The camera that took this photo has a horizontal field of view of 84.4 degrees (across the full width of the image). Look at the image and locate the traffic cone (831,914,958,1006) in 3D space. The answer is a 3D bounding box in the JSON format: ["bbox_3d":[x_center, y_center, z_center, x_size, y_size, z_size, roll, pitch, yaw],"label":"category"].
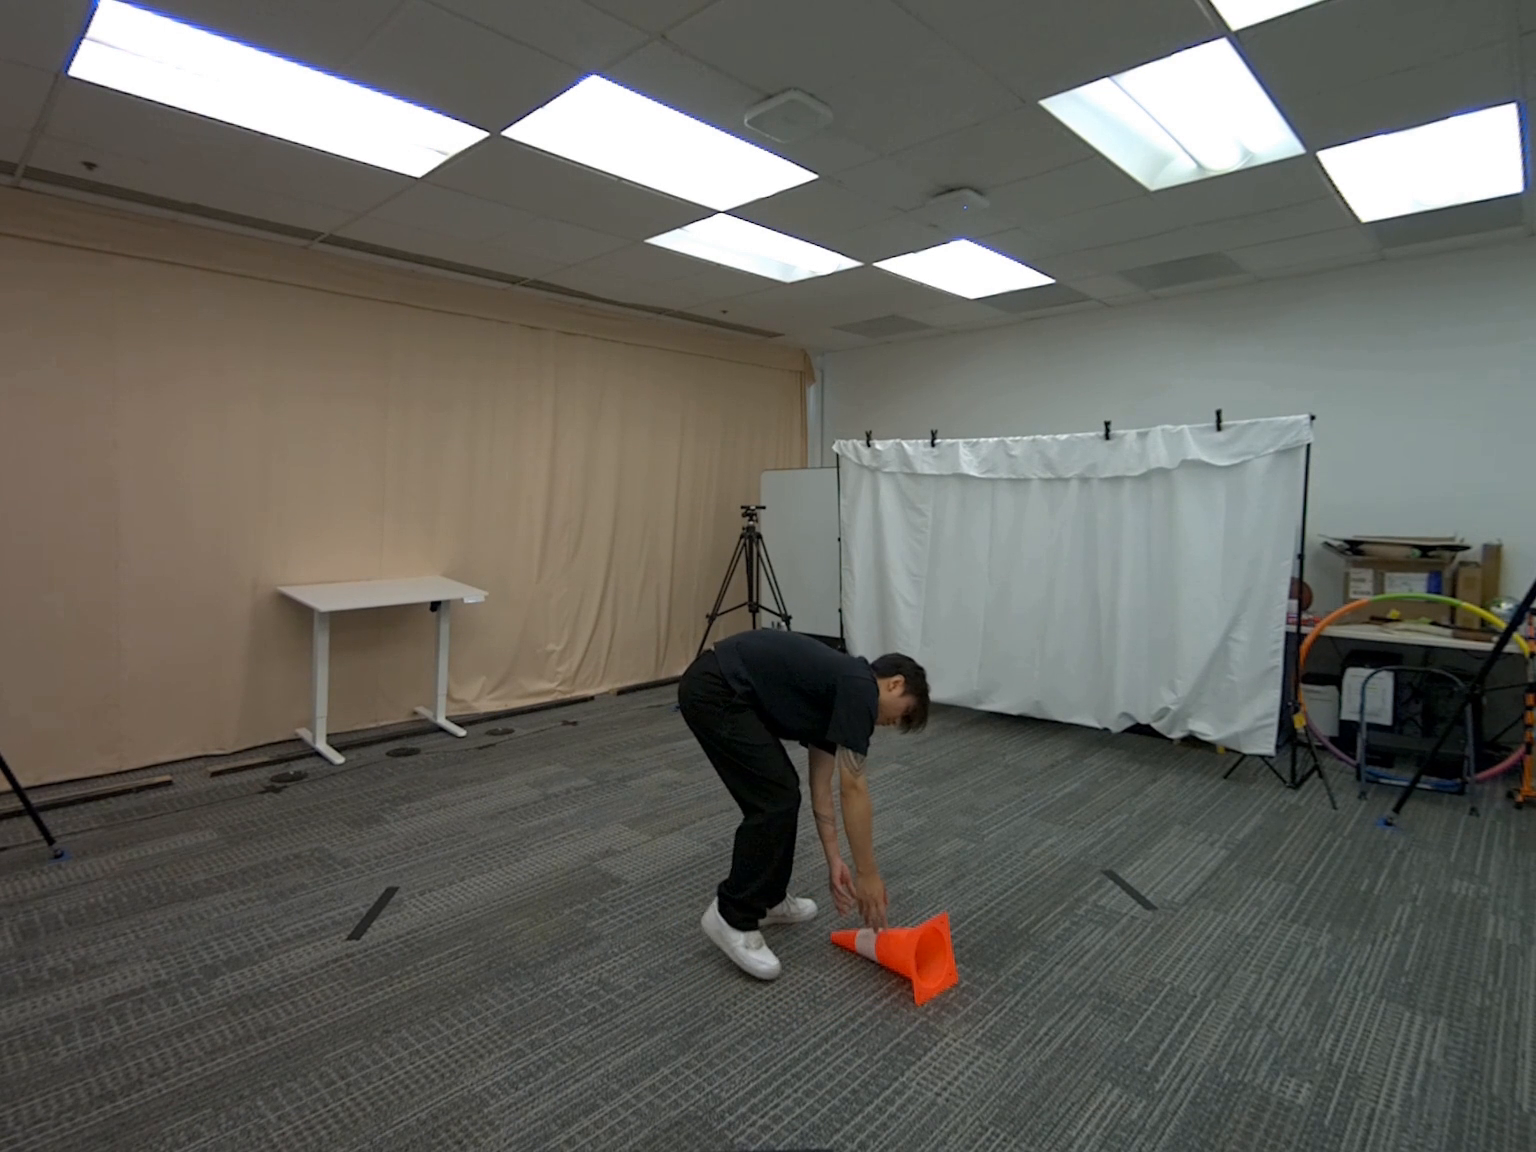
[{"bbox_3d":[0.349,1.124,2.550,0.198,0.204,0.394,0,-8,-43],"label":"traffic cone"}]
